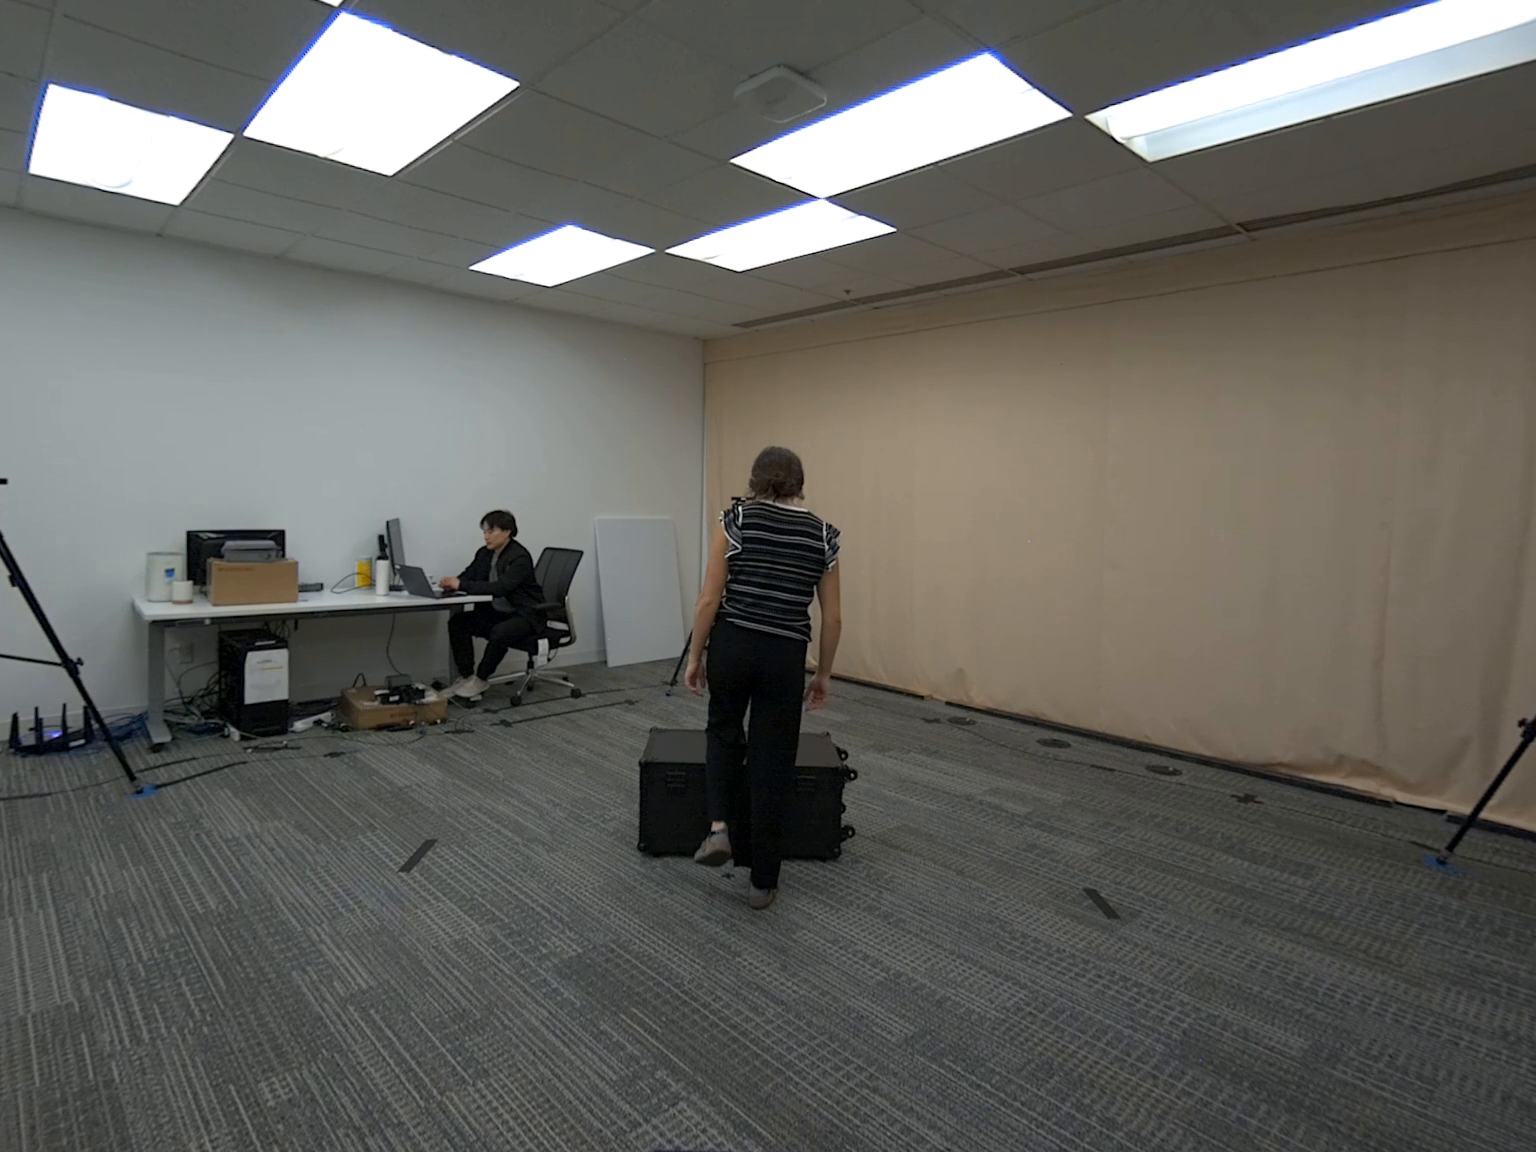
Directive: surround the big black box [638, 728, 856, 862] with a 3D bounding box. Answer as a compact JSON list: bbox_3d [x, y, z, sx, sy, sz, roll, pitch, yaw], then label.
[{"bbox_3d":[-0.091,0.884,3.465,0.861,0.395,0.523,1,4,-1],"label":"big black box"}]
